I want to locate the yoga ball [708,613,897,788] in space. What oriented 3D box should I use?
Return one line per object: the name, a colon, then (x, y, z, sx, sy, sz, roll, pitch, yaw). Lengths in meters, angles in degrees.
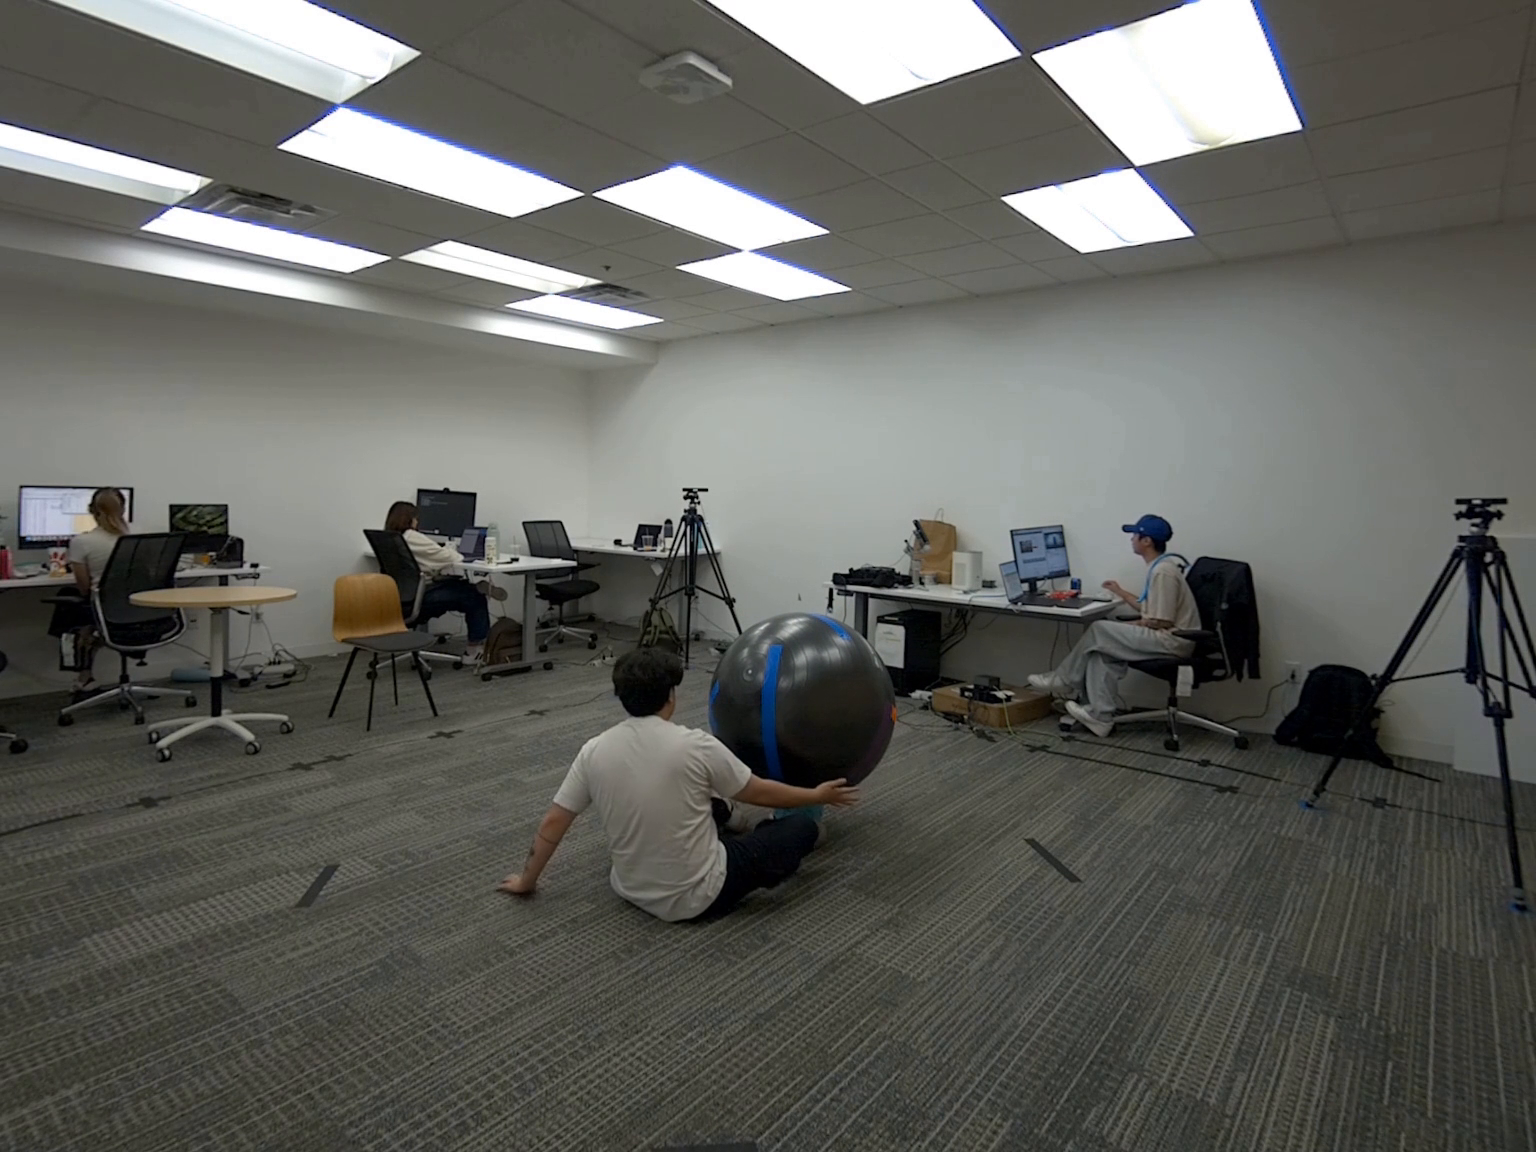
yoga ball: (0.129, 0.525, 3.483, 0.757, 0.755, 0.762, 1, 4, -2)
